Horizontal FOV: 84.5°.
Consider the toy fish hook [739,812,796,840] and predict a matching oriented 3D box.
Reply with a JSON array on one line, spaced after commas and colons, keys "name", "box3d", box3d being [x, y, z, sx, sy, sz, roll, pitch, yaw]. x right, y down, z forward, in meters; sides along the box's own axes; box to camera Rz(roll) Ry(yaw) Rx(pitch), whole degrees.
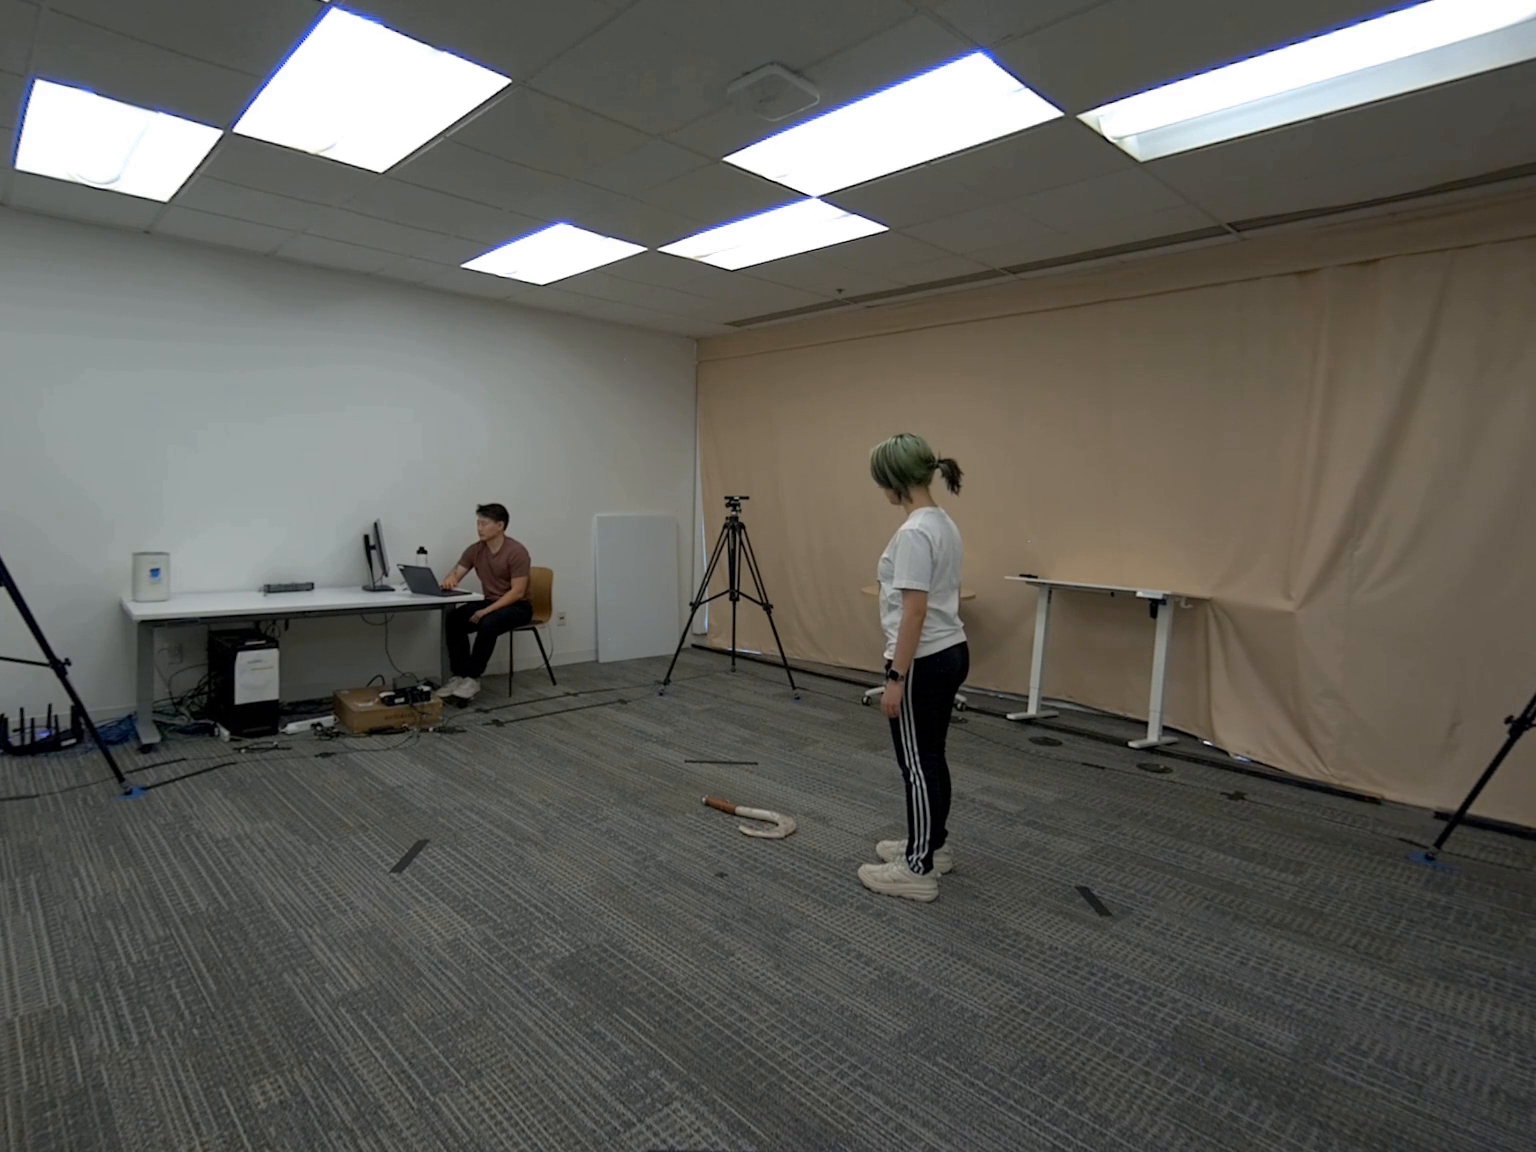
[{"name": "toy fish hook", "box3d": [-0.125, 1.037, 3.629, 0.519, 0.048, 0.219, 5, 4, 37]}]
